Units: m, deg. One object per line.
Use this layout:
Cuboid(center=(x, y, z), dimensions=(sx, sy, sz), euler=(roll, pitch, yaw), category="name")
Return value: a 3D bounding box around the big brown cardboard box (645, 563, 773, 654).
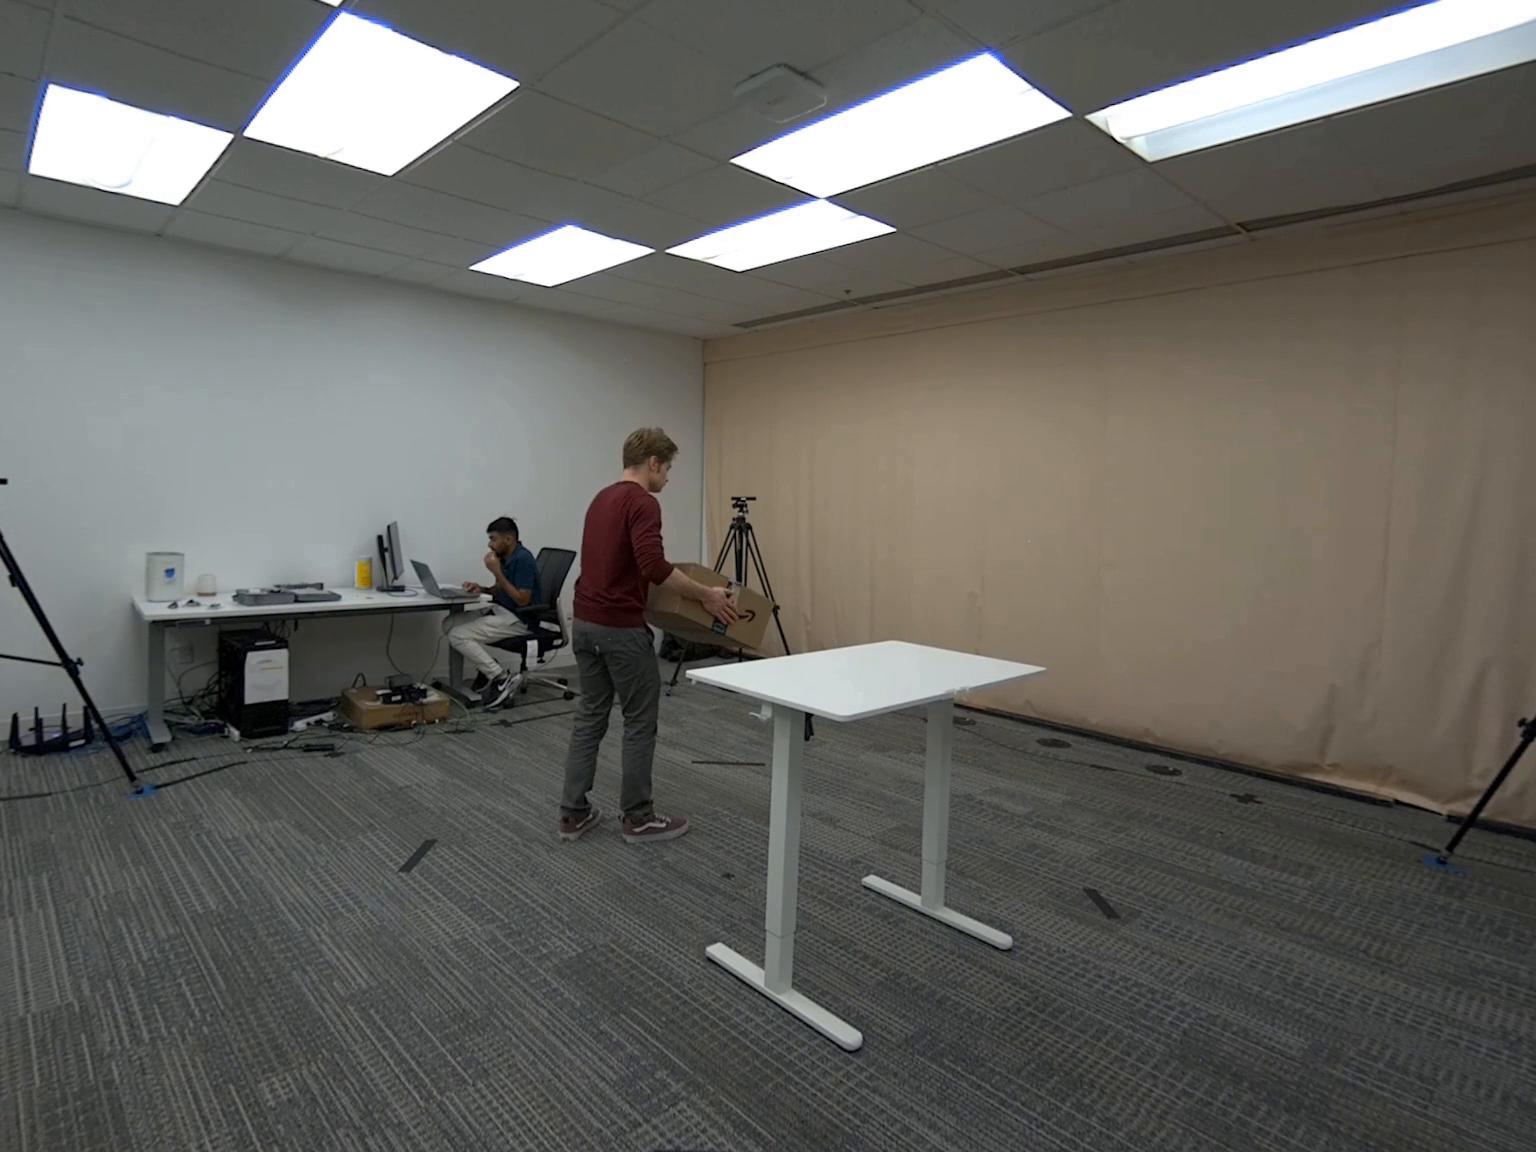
Cuboid(center=(-0.327, 0.121, 3.601), dimensions=(0.407, 0.234, 0.602), euler=(27, -13, -30), category="big brown cardboard box")
